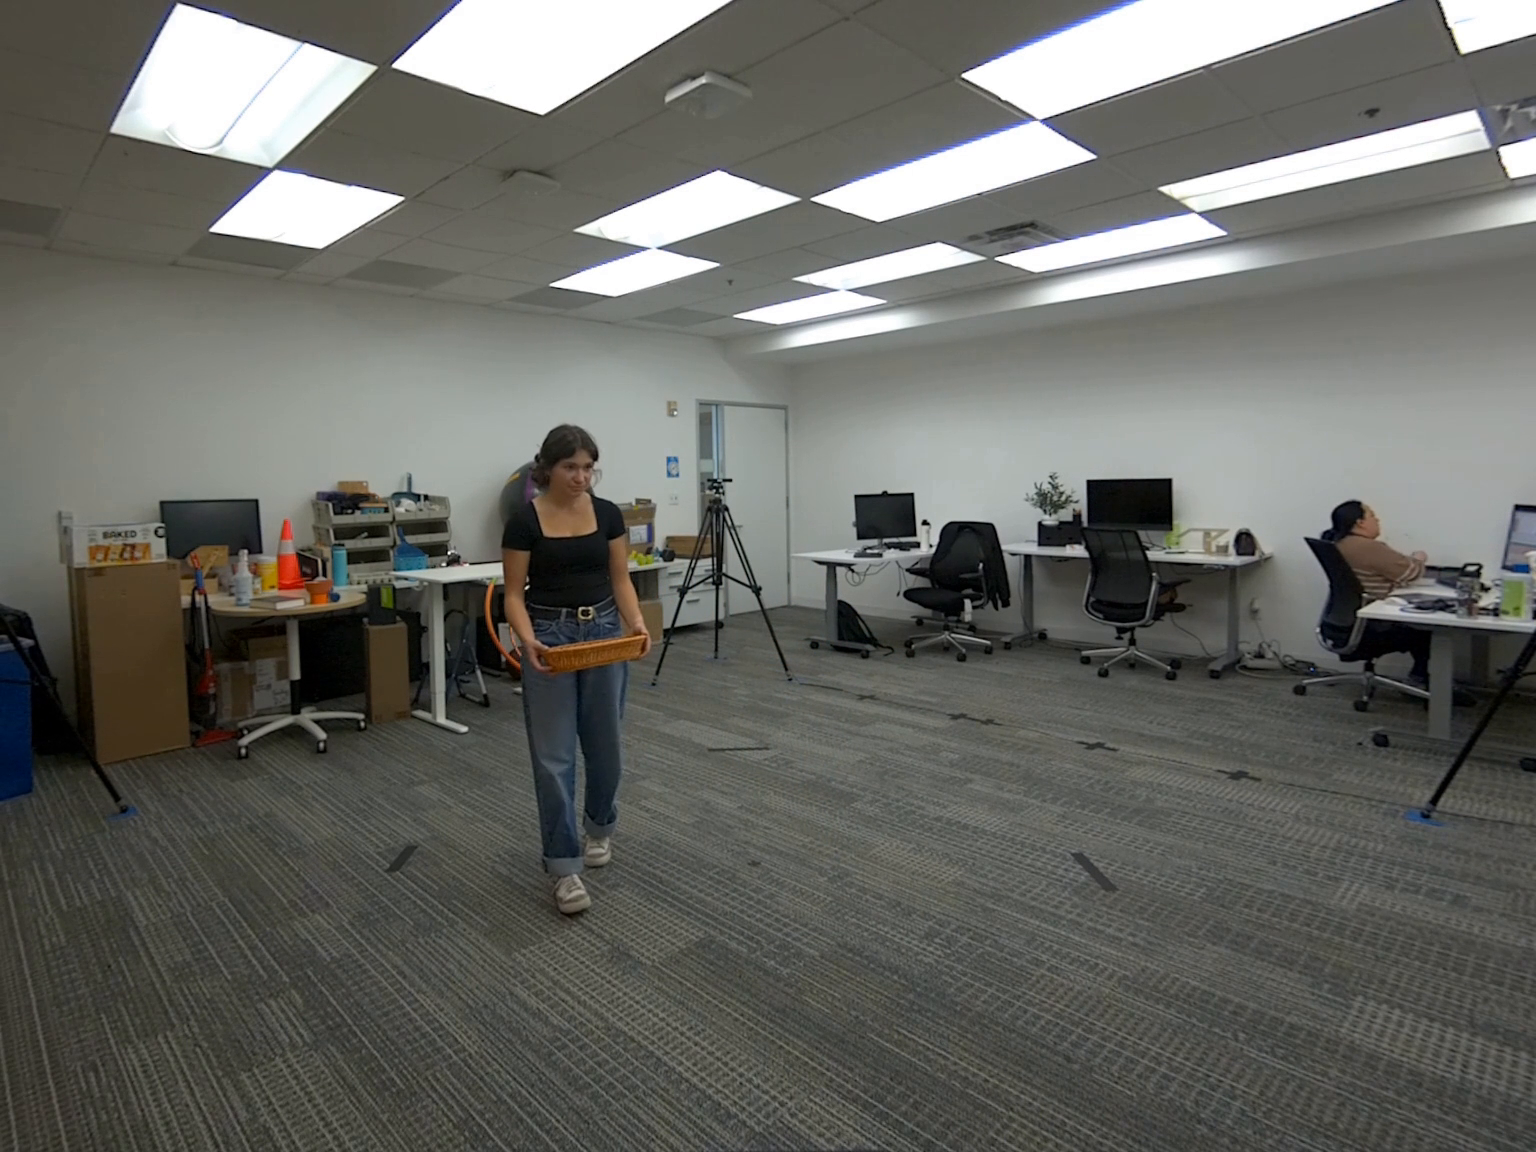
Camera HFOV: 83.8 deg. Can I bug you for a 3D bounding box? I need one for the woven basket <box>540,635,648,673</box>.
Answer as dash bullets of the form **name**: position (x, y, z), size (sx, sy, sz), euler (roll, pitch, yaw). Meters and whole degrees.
- **woven basket**: position (-0.575, 0.251, 2.712), size (0.342, 0.073, 0.258), euler (-8, 1, -31)
